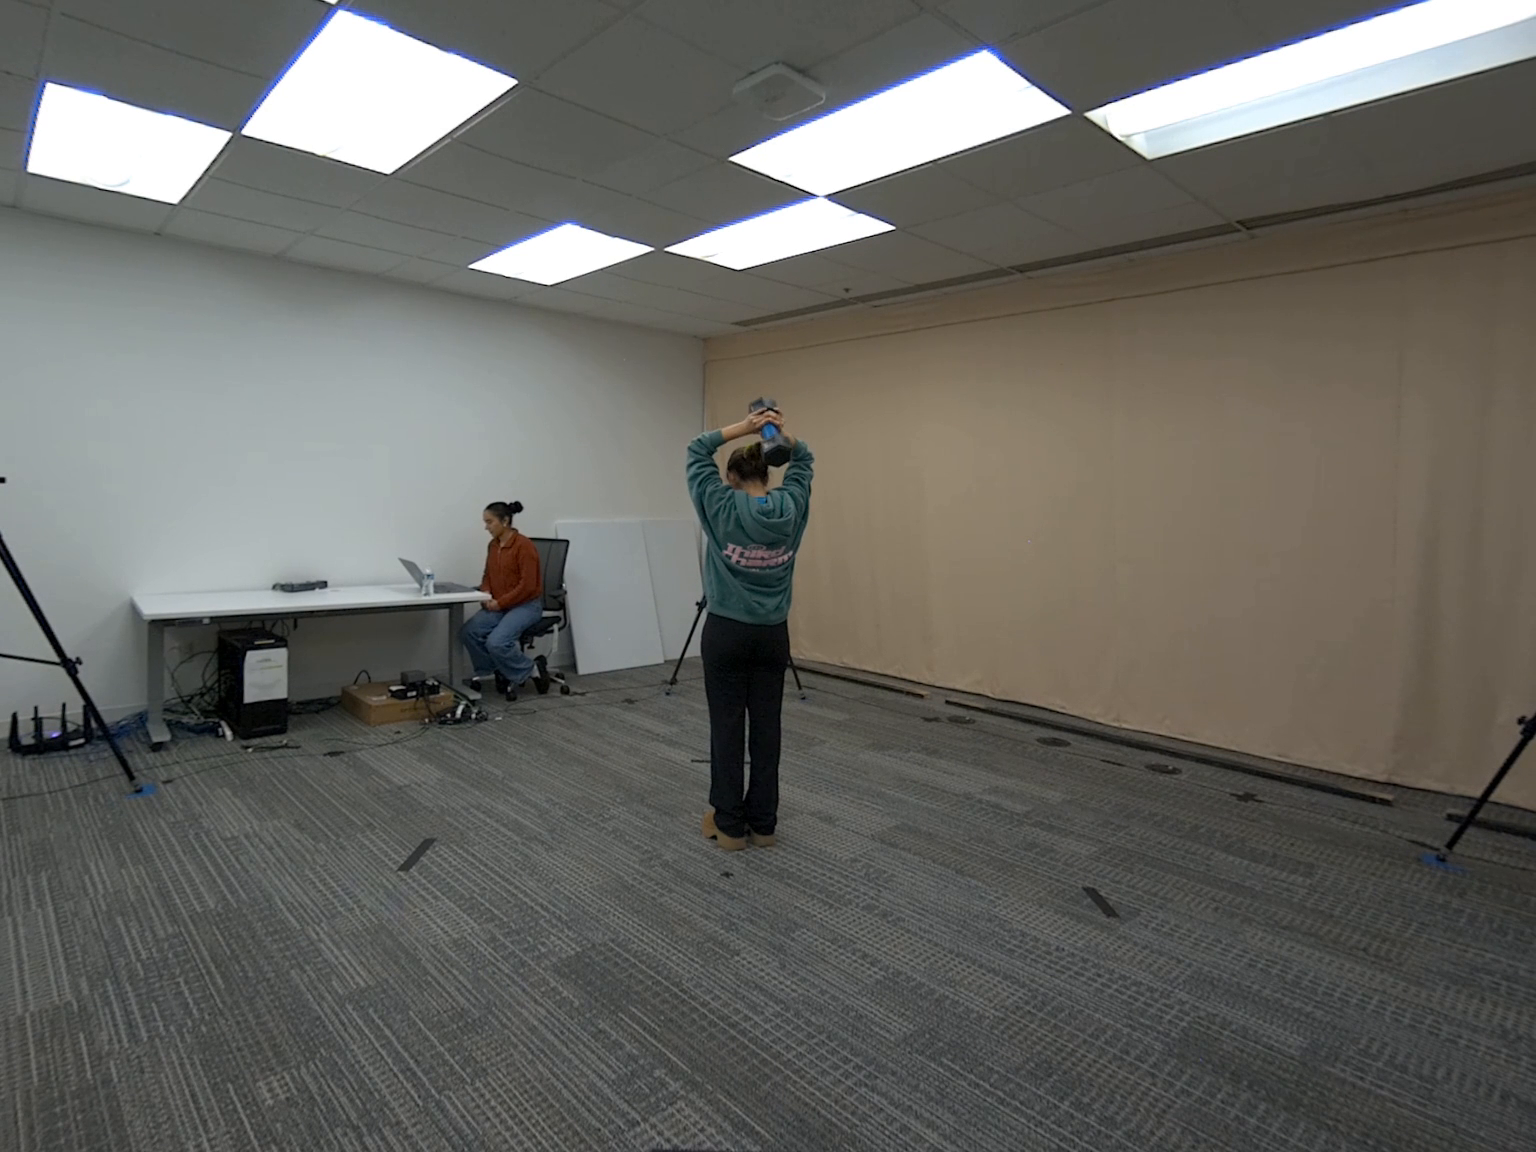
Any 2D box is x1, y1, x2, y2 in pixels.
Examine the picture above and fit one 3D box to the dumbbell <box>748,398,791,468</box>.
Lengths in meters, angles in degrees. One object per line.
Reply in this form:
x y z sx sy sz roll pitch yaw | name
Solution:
0.003 -0.551 3.211 0.108 0.120 0.301 -8 49 -9 | dumbbell
